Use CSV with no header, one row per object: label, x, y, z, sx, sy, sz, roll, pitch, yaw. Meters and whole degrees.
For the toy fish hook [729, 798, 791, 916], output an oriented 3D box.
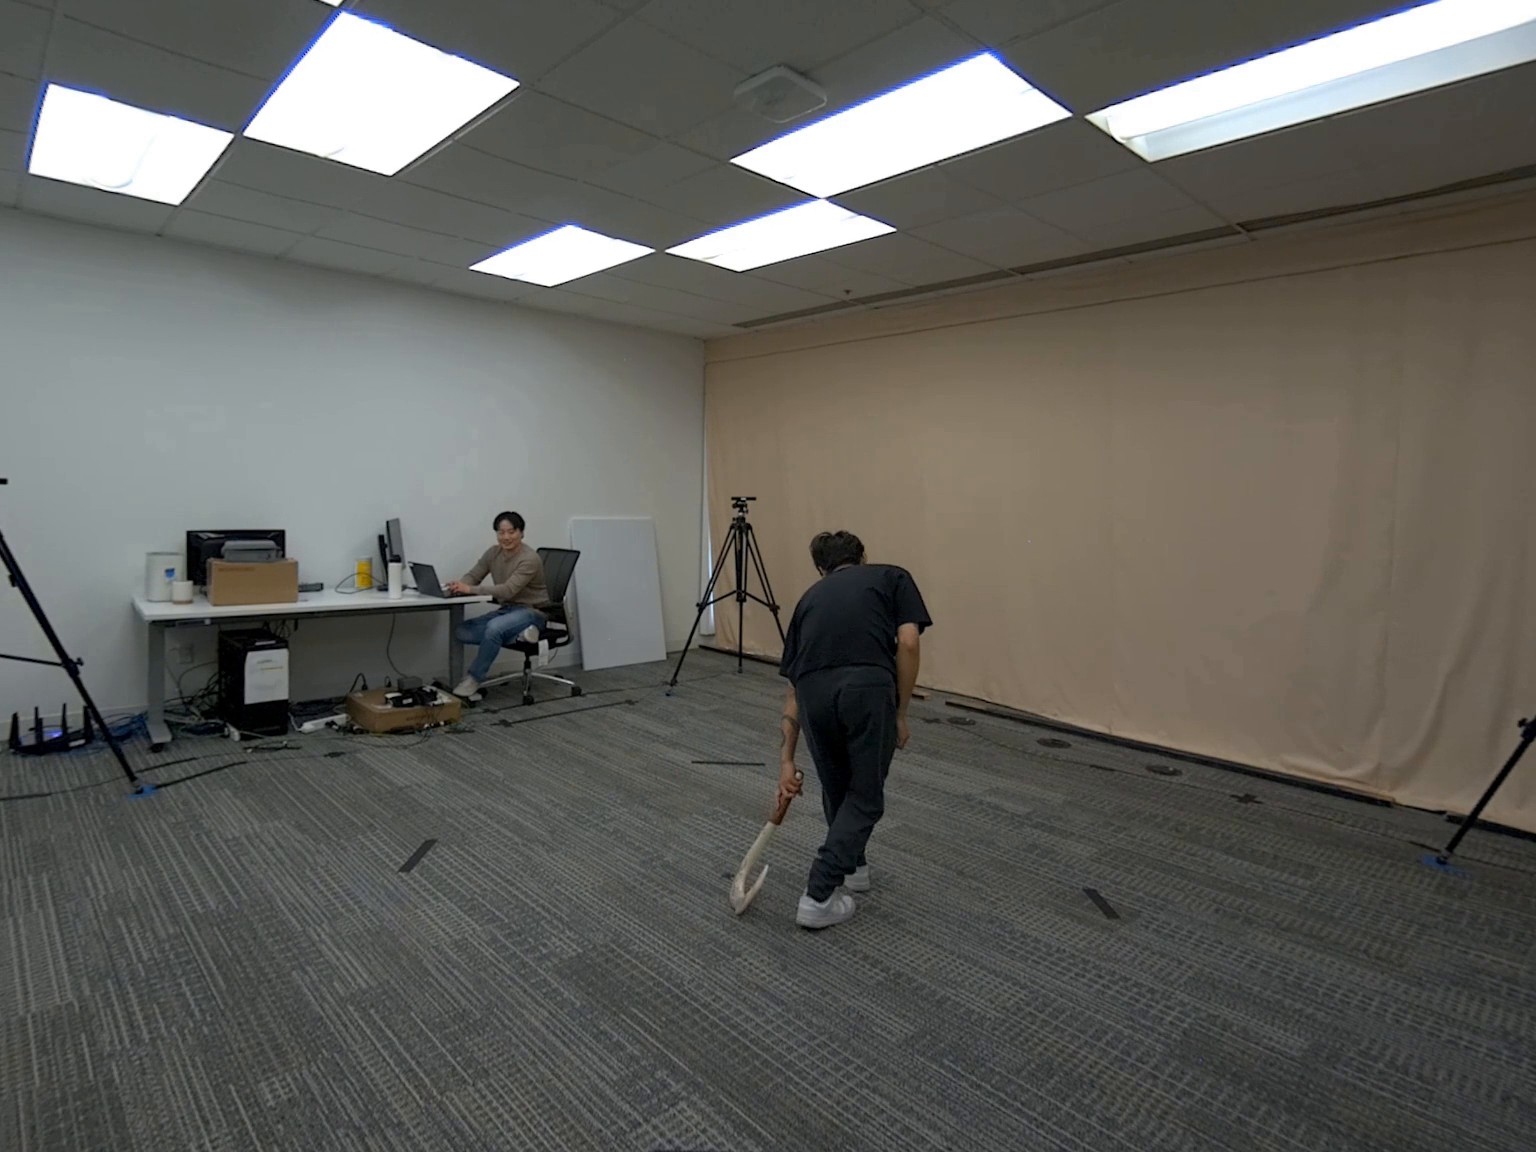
toy fish hook,0.005,0.908,2.872,0.047,0.507,0.228,30,-7,-16
